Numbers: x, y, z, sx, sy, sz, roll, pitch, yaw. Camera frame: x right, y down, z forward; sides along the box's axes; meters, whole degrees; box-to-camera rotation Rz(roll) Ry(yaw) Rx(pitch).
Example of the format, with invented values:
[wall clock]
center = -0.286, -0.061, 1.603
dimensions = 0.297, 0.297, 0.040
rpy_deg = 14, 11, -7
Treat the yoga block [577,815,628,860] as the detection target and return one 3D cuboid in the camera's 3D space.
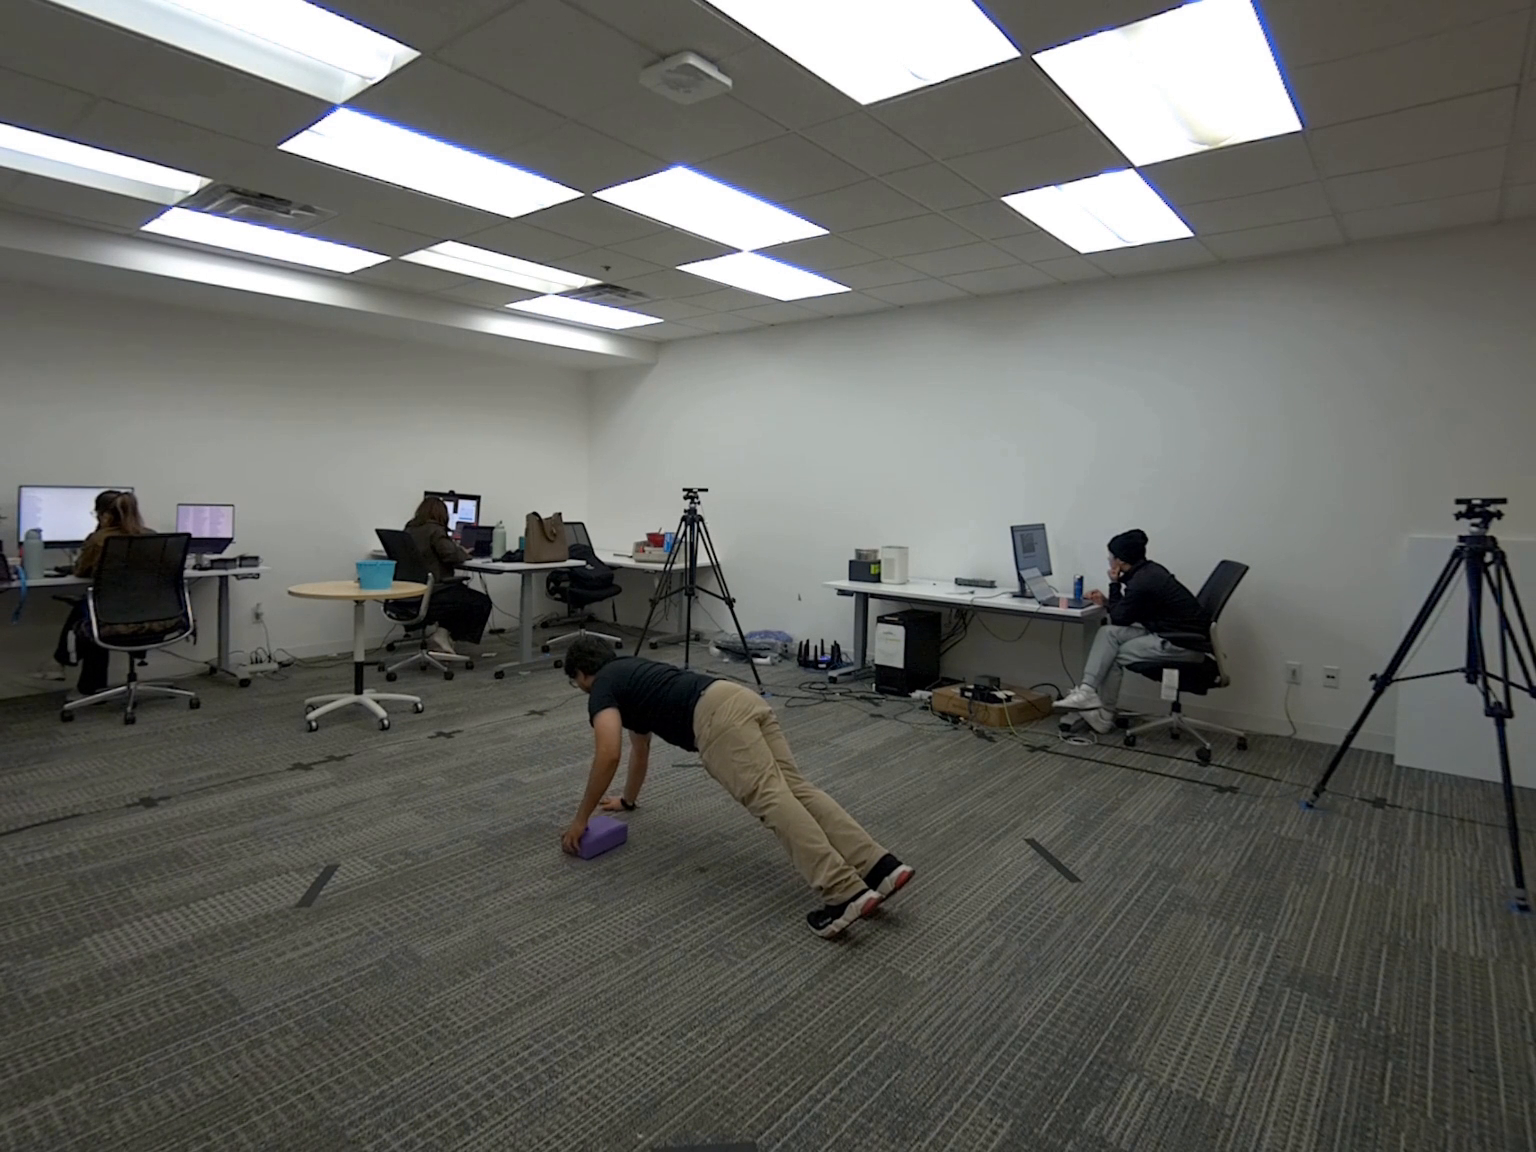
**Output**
[yoga block]
center = -0.681, 1.007, 3.289
dimensions = 0.154, 0.076, 0.223
rpy_deg = 4, 6, 35
